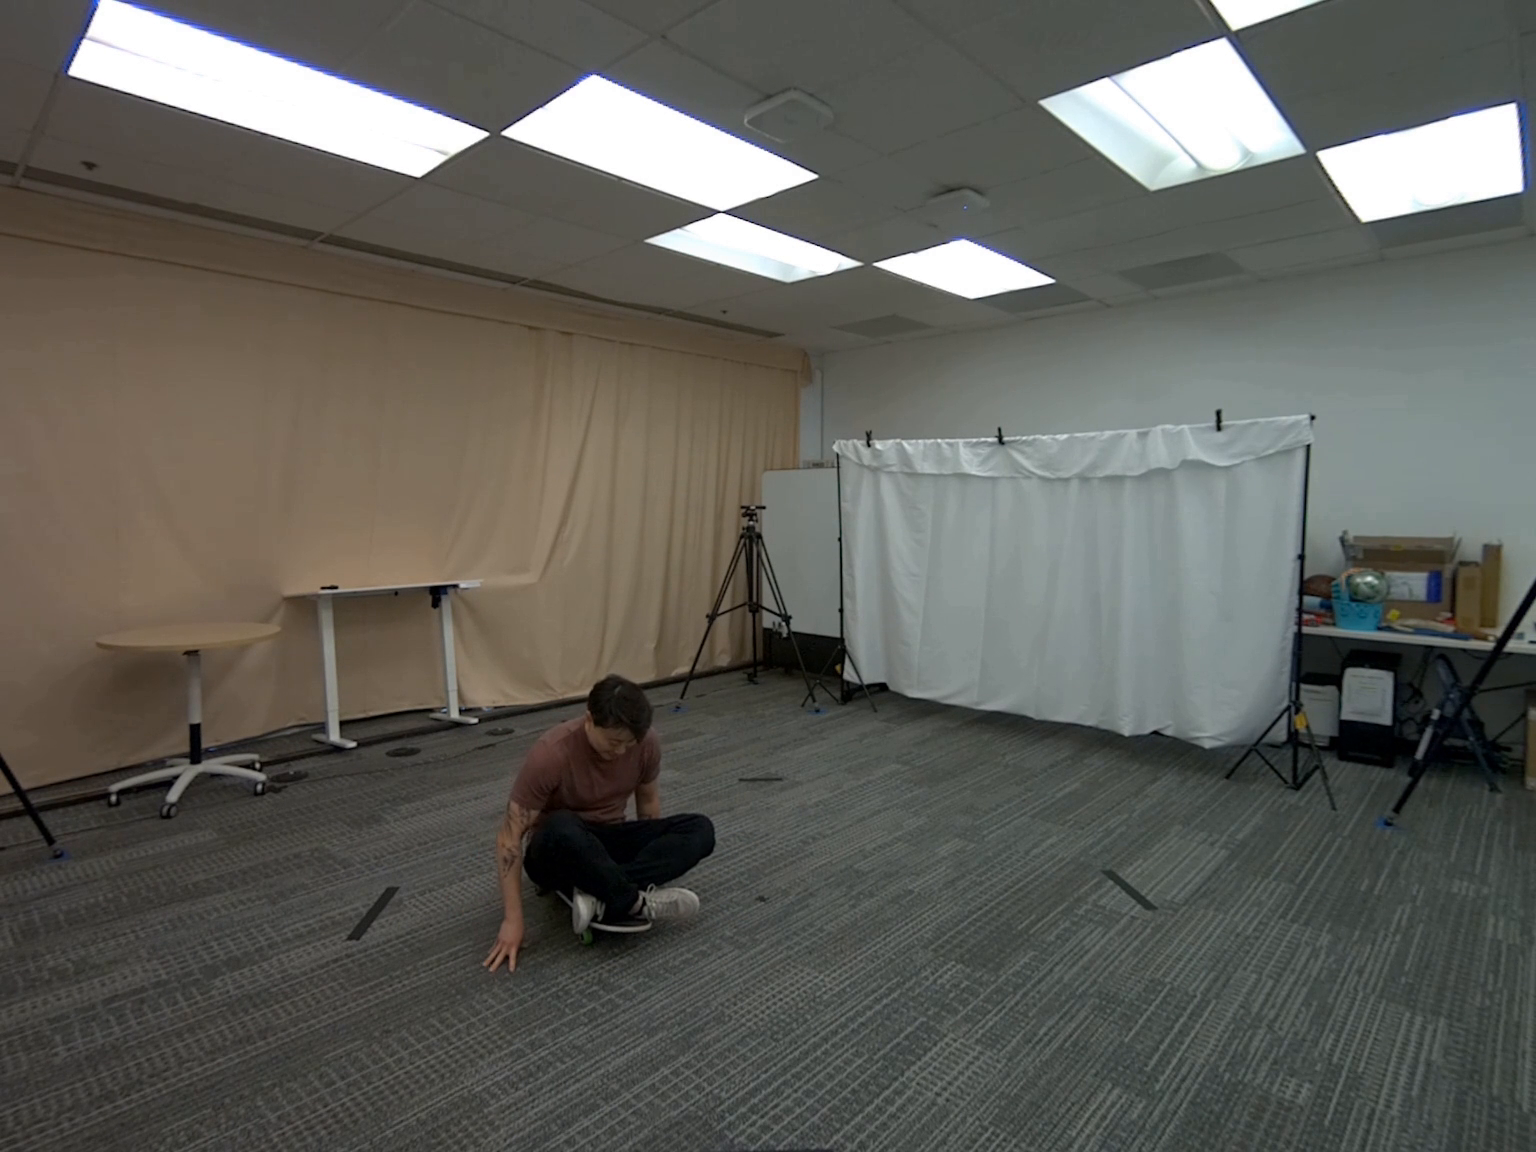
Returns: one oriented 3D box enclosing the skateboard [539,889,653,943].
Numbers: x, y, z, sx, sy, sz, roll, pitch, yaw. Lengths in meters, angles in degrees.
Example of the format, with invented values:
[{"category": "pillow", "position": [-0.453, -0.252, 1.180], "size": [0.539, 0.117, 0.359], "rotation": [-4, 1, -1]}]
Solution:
[{"category": "skateboard", "position": [-0.644, 1.106, 2.889], "size": [0.187, 0.110, 0.809], "rotation": [8, -3, -33]}]
